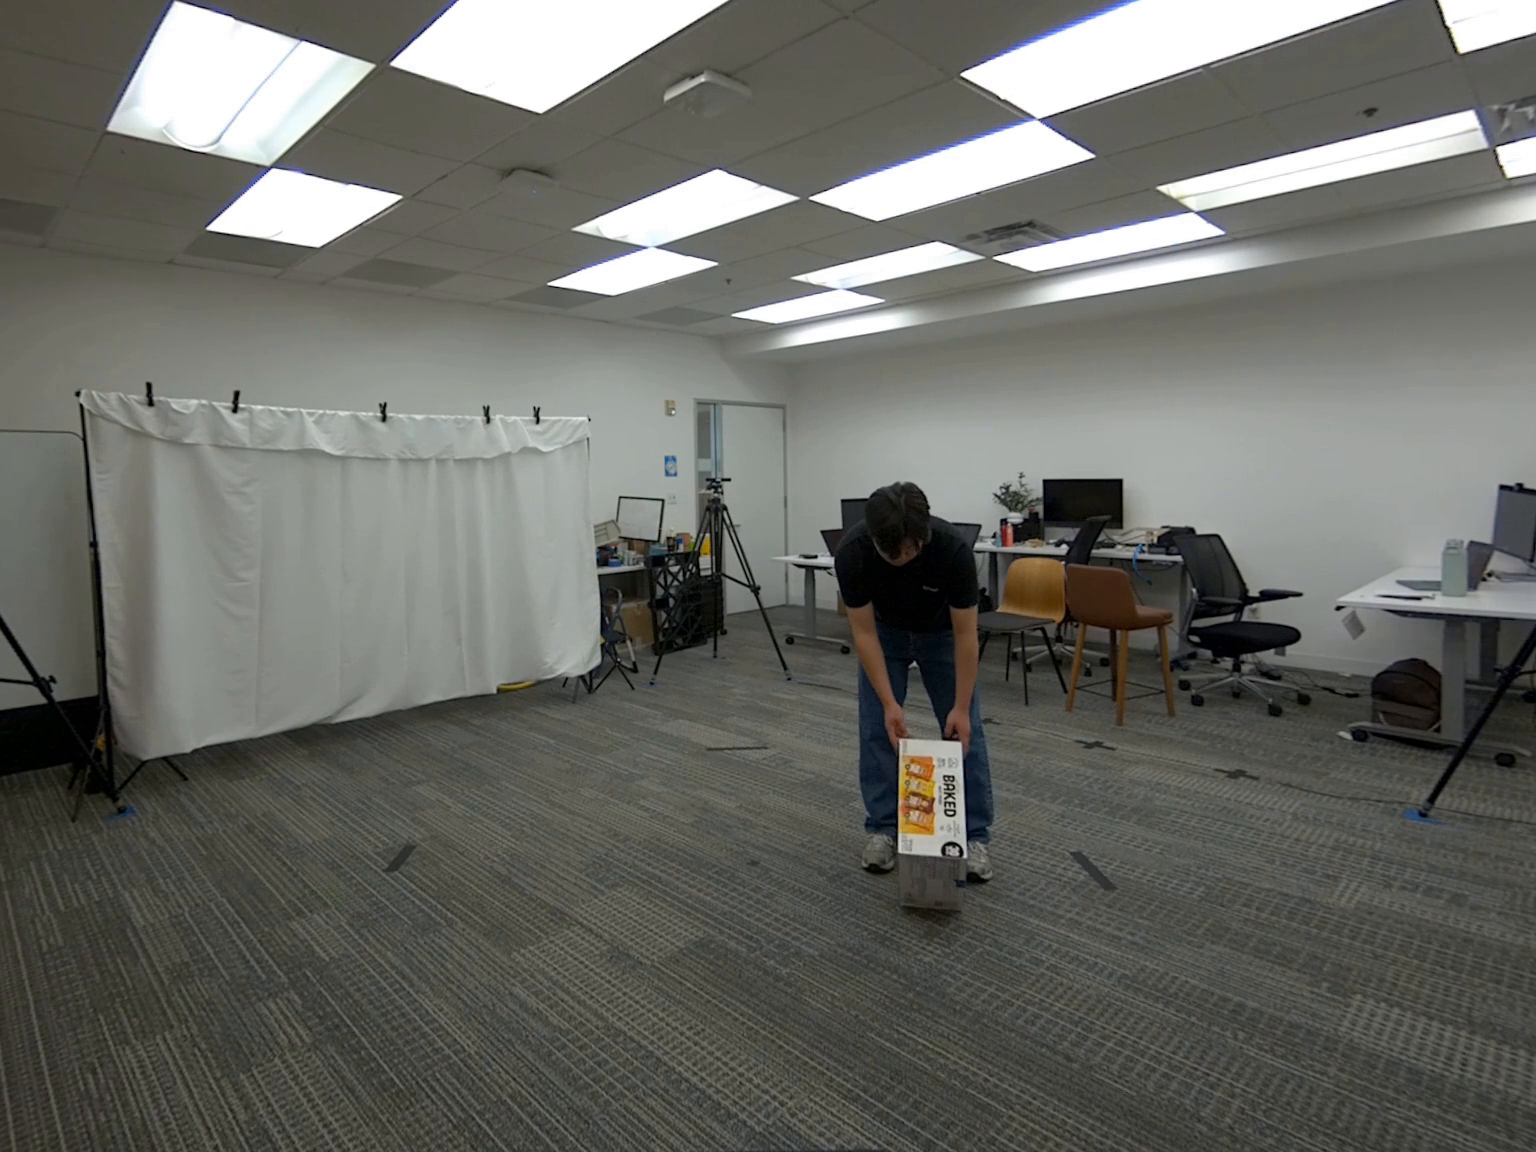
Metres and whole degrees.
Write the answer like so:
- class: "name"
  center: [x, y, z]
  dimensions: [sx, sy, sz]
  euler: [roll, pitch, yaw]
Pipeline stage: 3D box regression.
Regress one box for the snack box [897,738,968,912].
- class: "snack box"
  center: [0.538, 0.812, 2.790]
  dimensions: [0.208, 0.329, 0.413]
  euler: [0, 43, 11]
